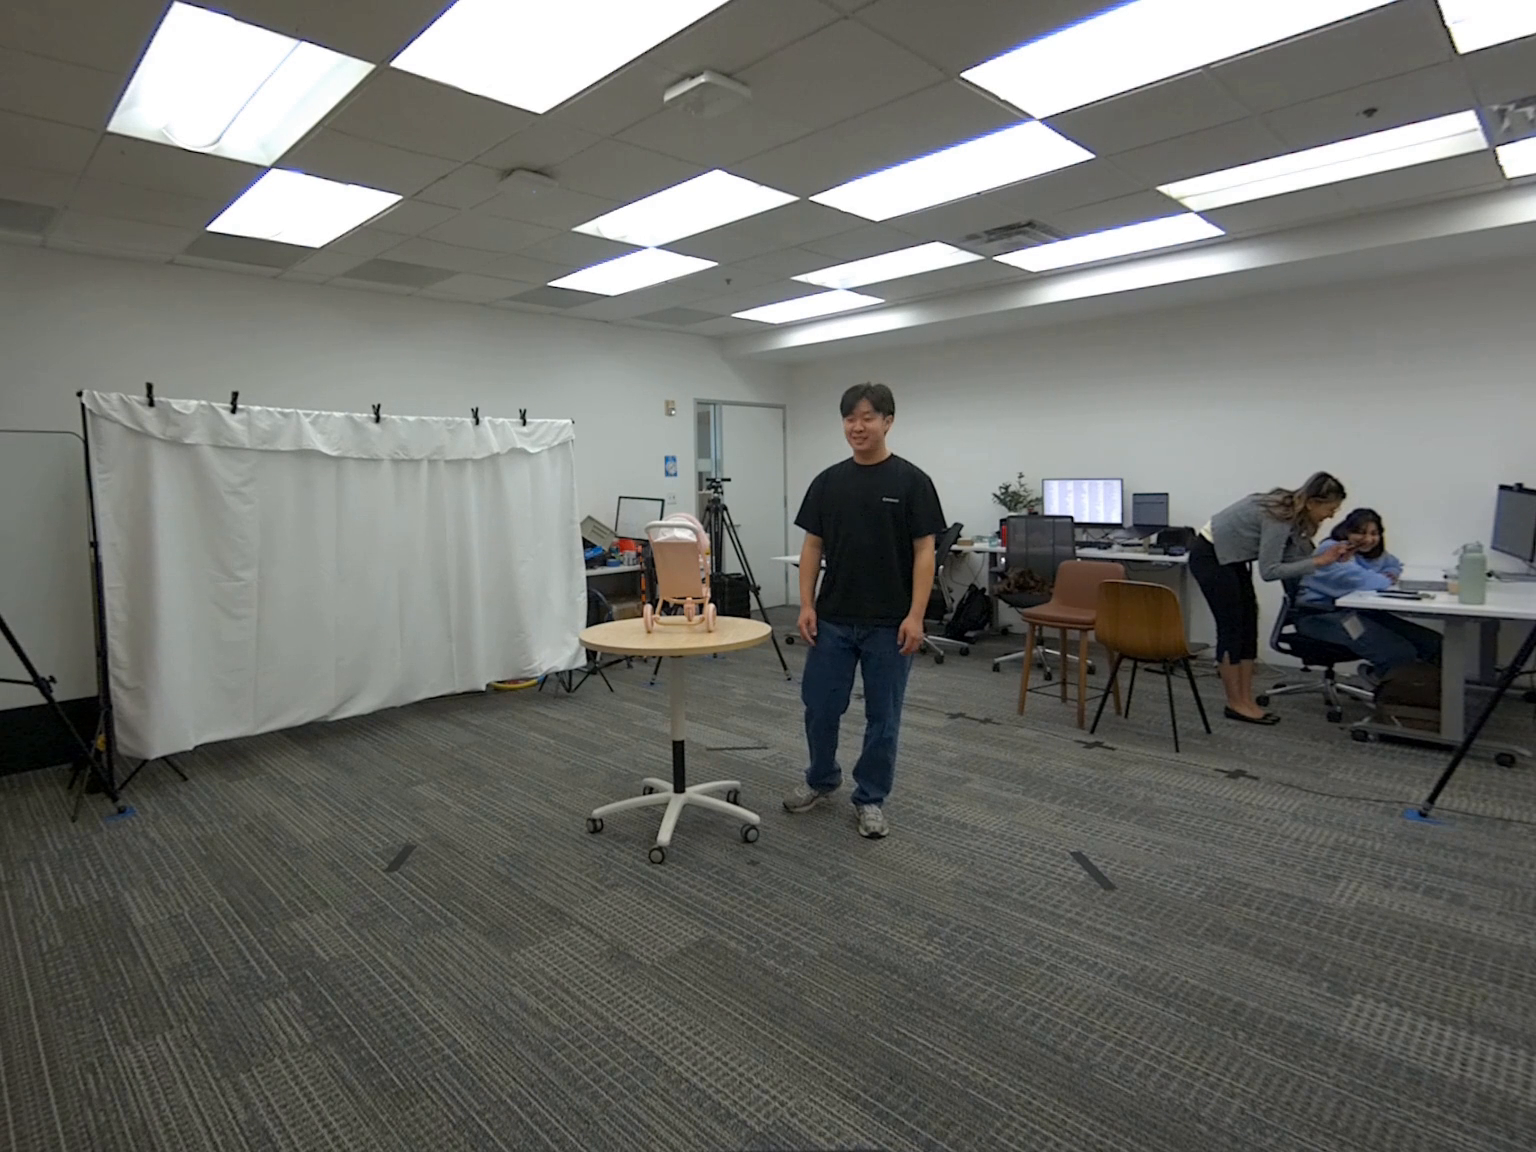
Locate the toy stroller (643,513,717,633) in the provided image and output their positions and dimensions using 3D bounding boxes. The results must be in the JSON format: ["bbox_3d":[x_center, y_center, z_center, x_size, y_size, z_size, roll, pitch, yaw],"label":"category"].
[{"bbox_3d":[-0.344,-0.012,3.429,0.284,0.526,0.344,0,18,7],"label":"toy stroller"}]
